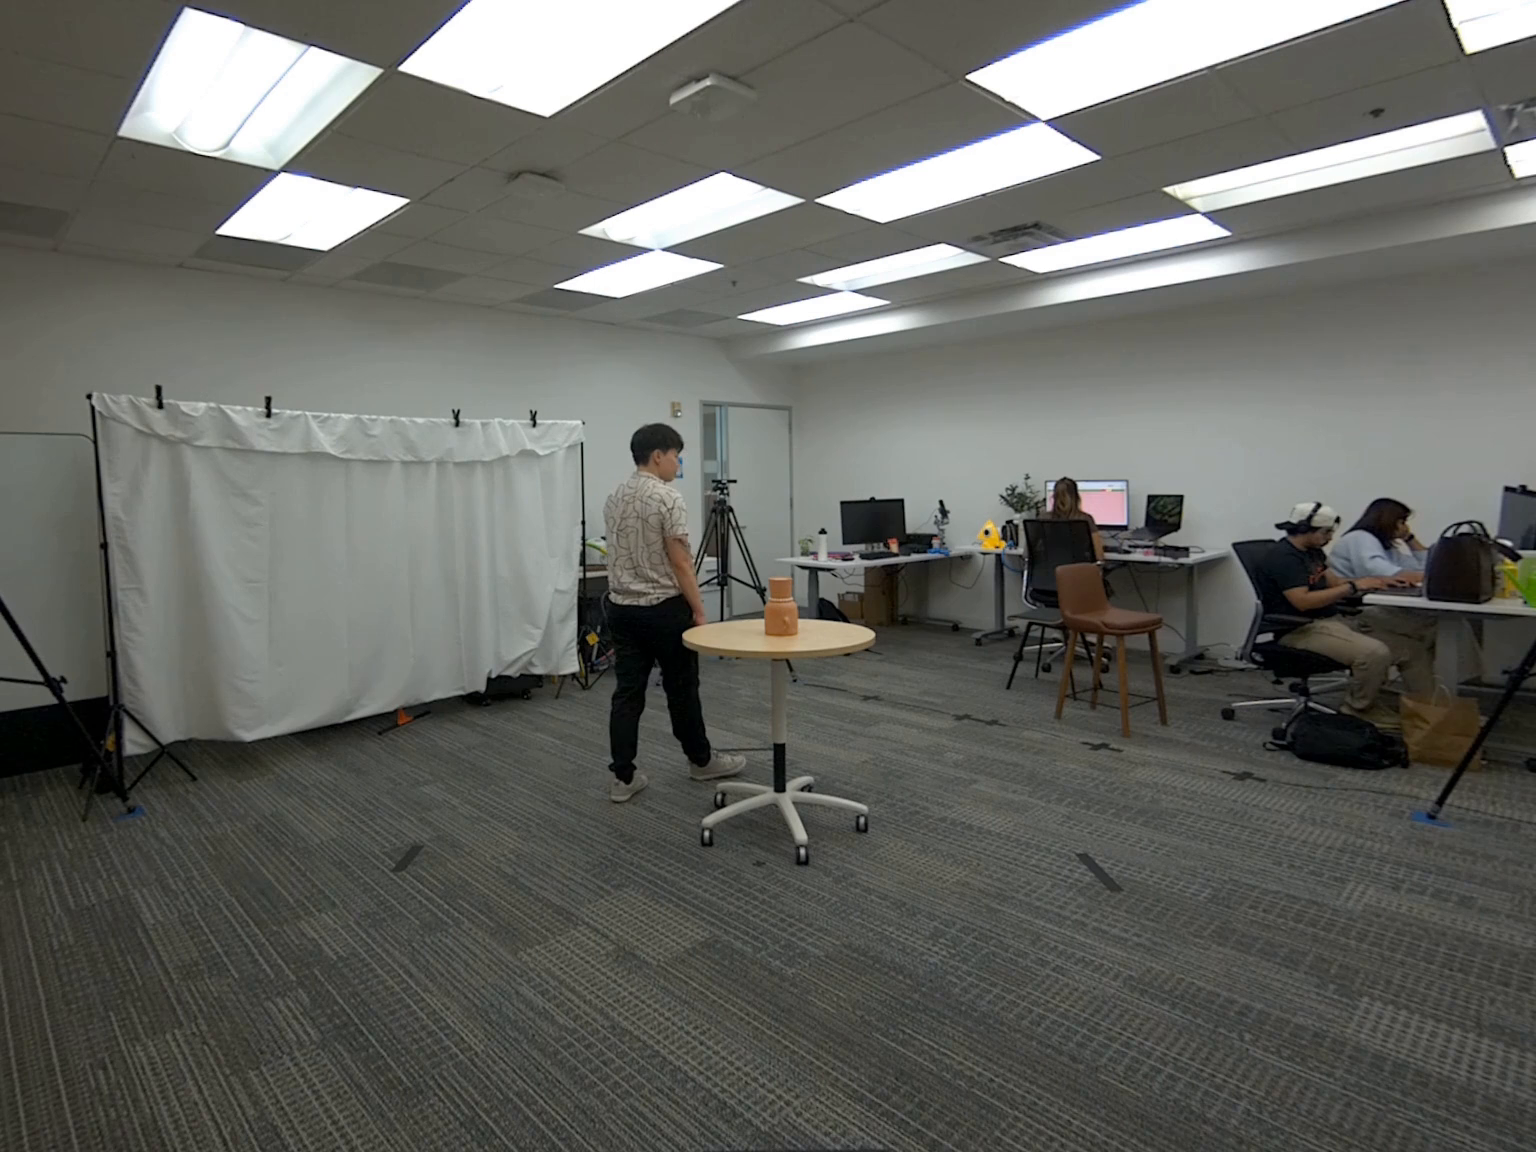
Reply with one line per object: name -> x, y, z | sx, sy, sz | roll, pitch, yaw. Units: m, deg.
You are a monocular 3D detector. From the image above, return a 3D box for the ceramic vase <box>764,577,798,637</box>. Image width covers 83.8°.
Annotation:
ceramic vase -> 0.055, 0.122, 3.414 | 0.163, 0.219, 0.131 | 2, 4, 37
